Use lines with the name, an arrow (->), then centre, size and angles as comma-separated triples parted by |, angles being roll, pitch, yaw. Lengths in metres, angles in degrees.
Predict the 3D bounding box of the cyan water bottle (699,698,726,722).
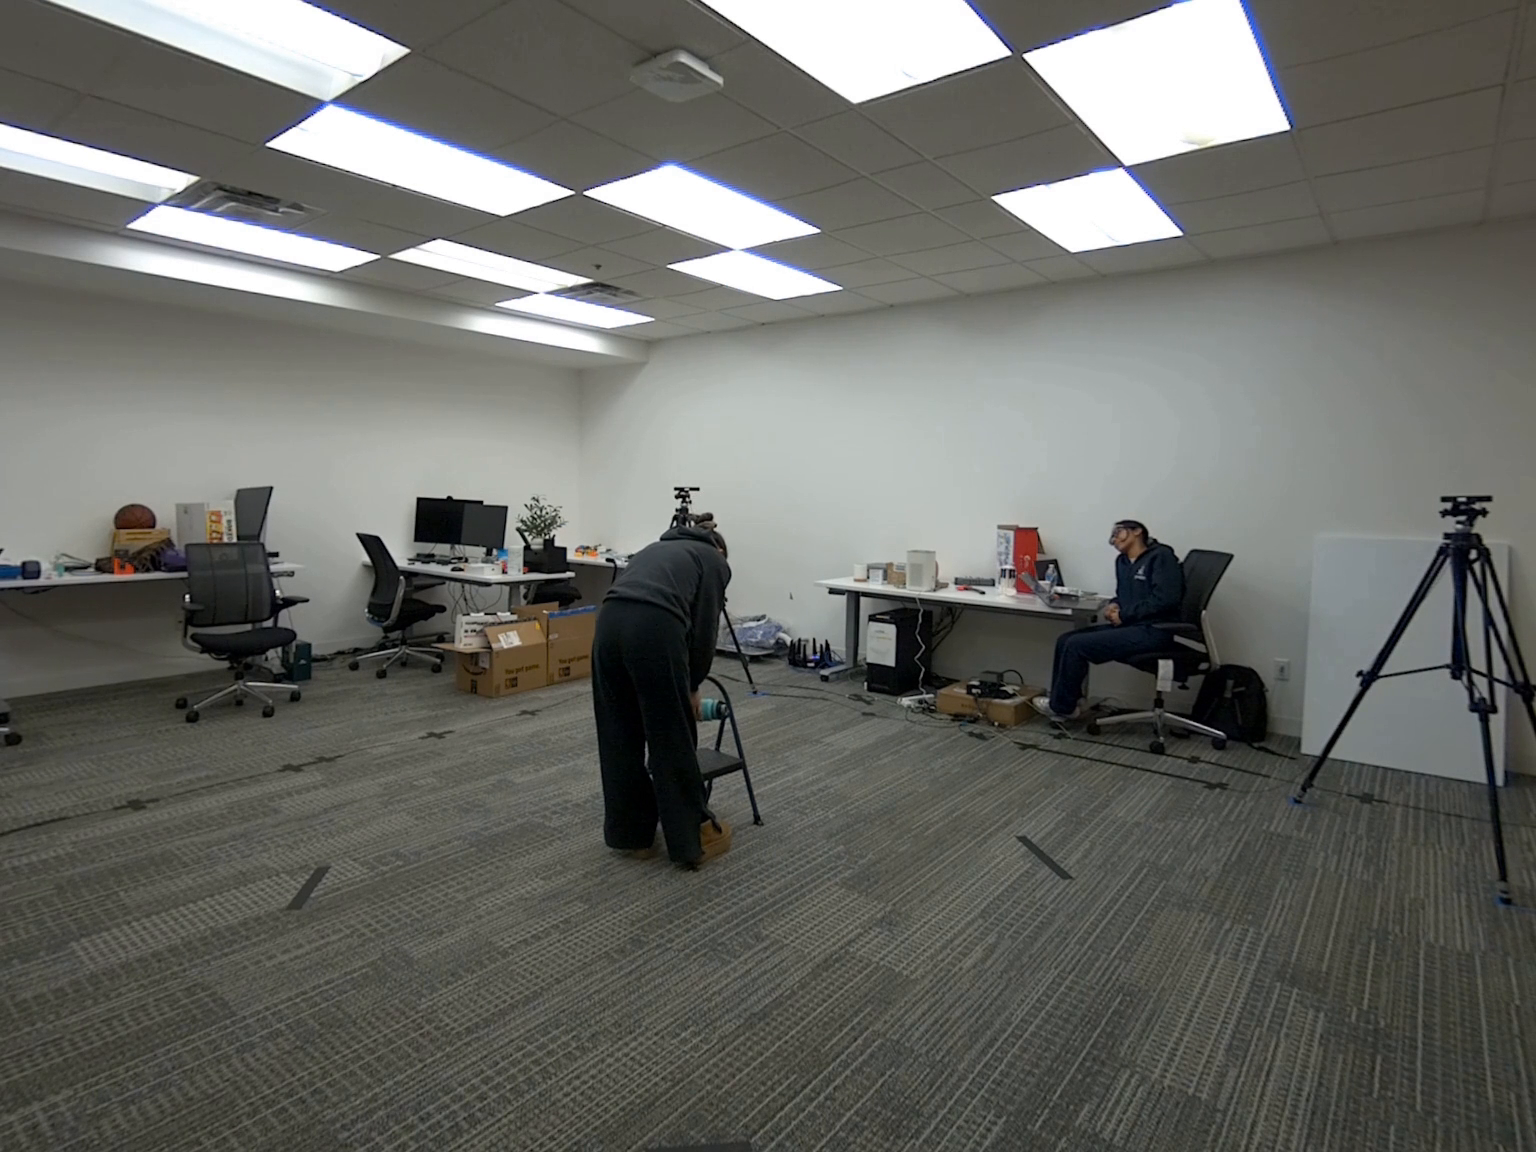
cyan water bottle -> -0.316, 0.547, 3.456 | 0.287, 0.092, 0.091 | -4, 3, 15
